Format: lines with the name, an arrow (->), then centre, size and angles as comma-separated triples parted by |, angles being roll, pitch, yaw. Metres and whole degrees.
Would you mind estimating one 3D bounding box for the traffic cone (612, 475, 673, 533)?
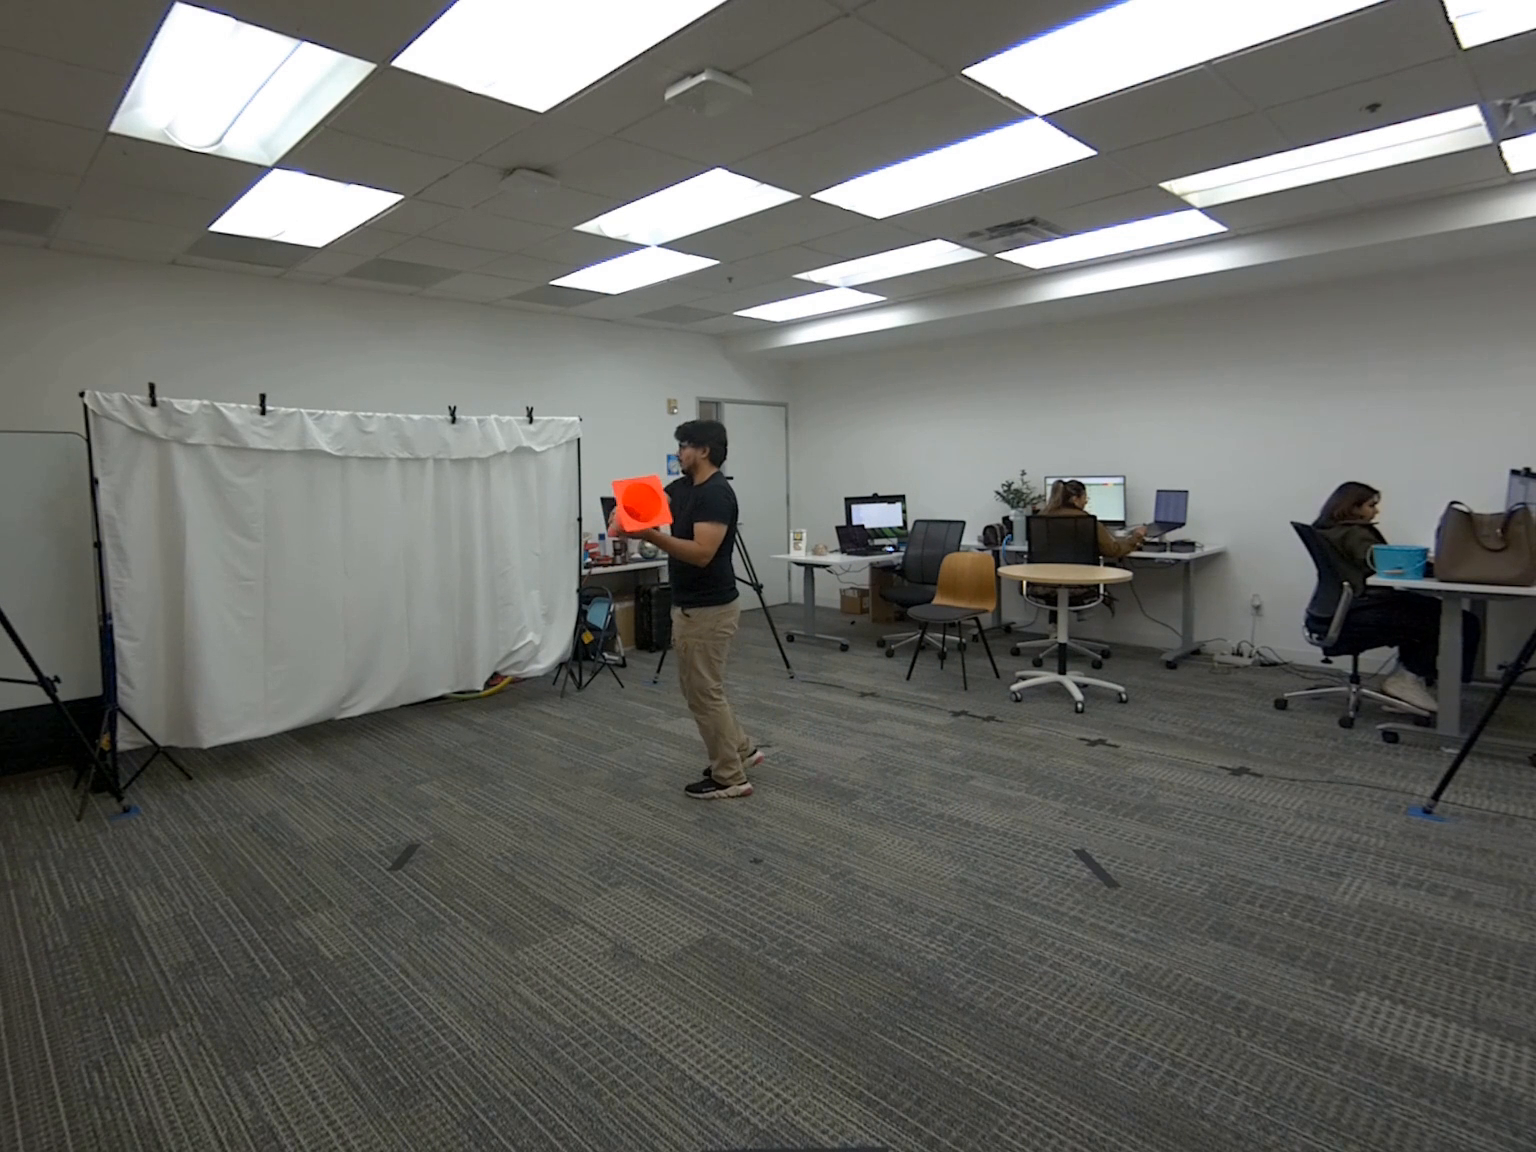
traffic cone -> -0.562, -0.210, 3.322 | 0.201, 0.206, 0.387 | -11, -11, -31
